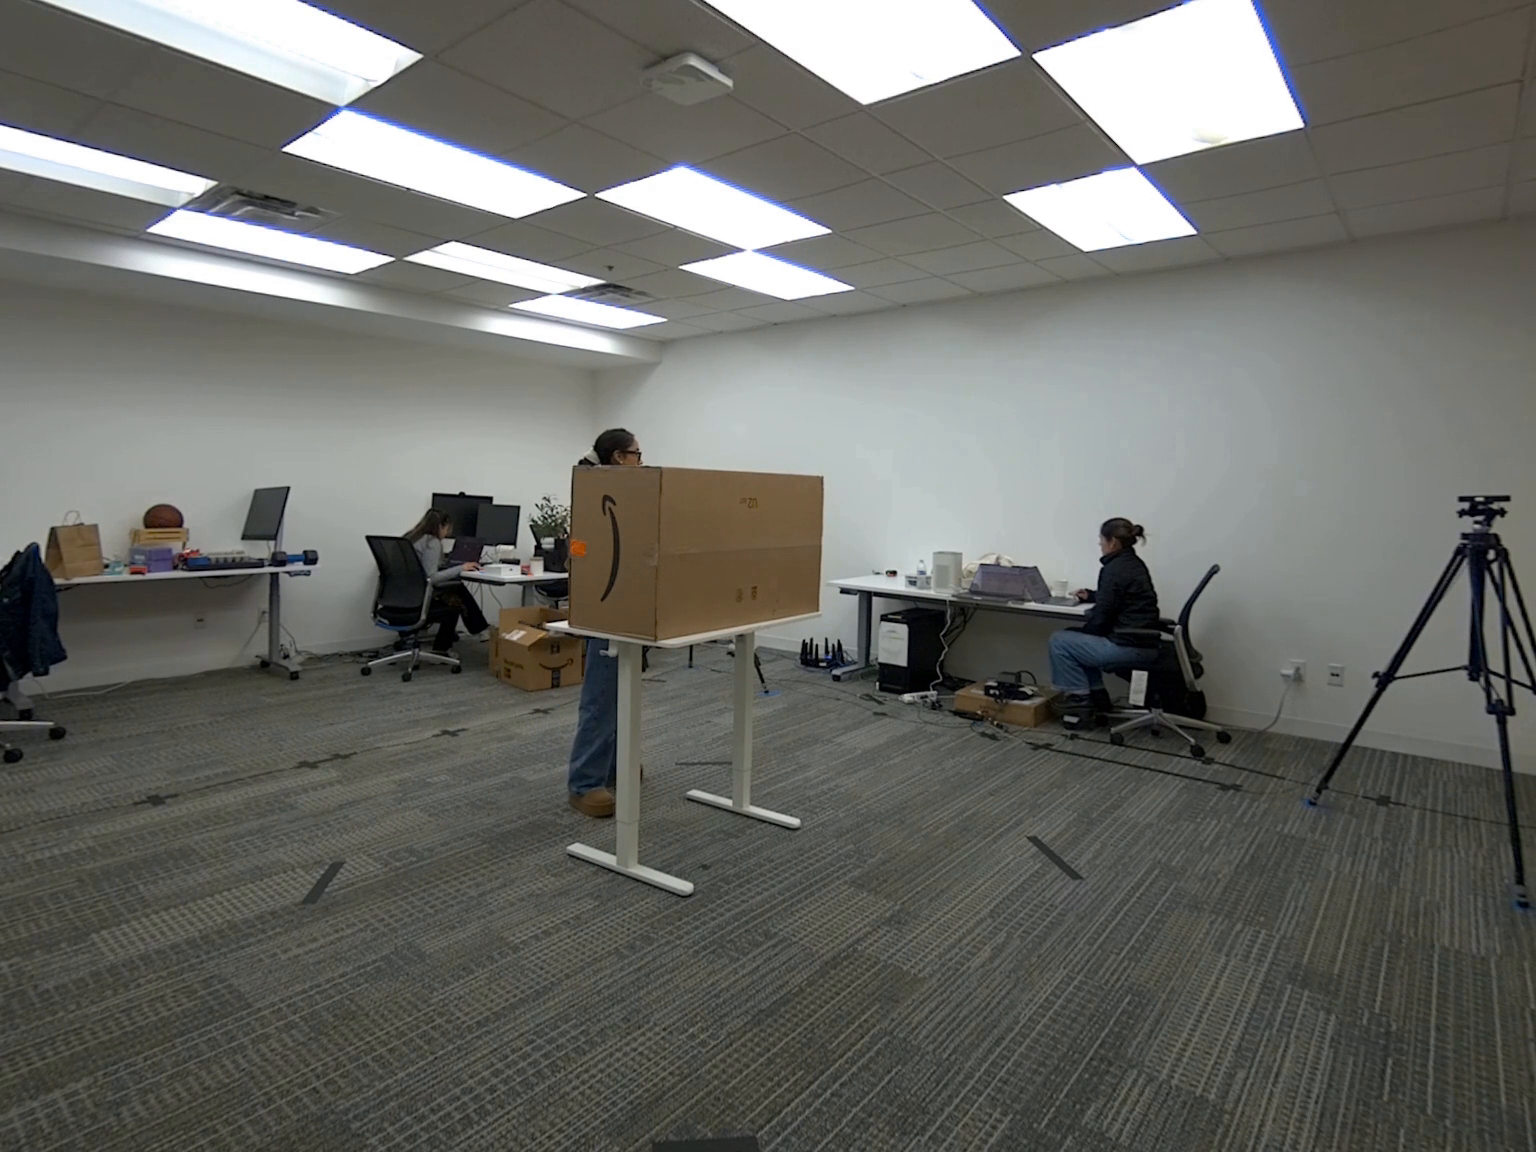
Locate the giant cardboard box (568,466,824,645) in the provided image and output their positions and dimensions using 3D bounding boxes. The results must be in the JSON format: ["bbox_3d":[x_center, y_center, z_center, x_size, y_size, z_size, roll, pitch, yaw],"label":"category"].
[{"bbox_3d":[-0.251,-0.116,3.293,0.440,0.575,0.996,5,6,36],"label":"giant cardboard box"}]
